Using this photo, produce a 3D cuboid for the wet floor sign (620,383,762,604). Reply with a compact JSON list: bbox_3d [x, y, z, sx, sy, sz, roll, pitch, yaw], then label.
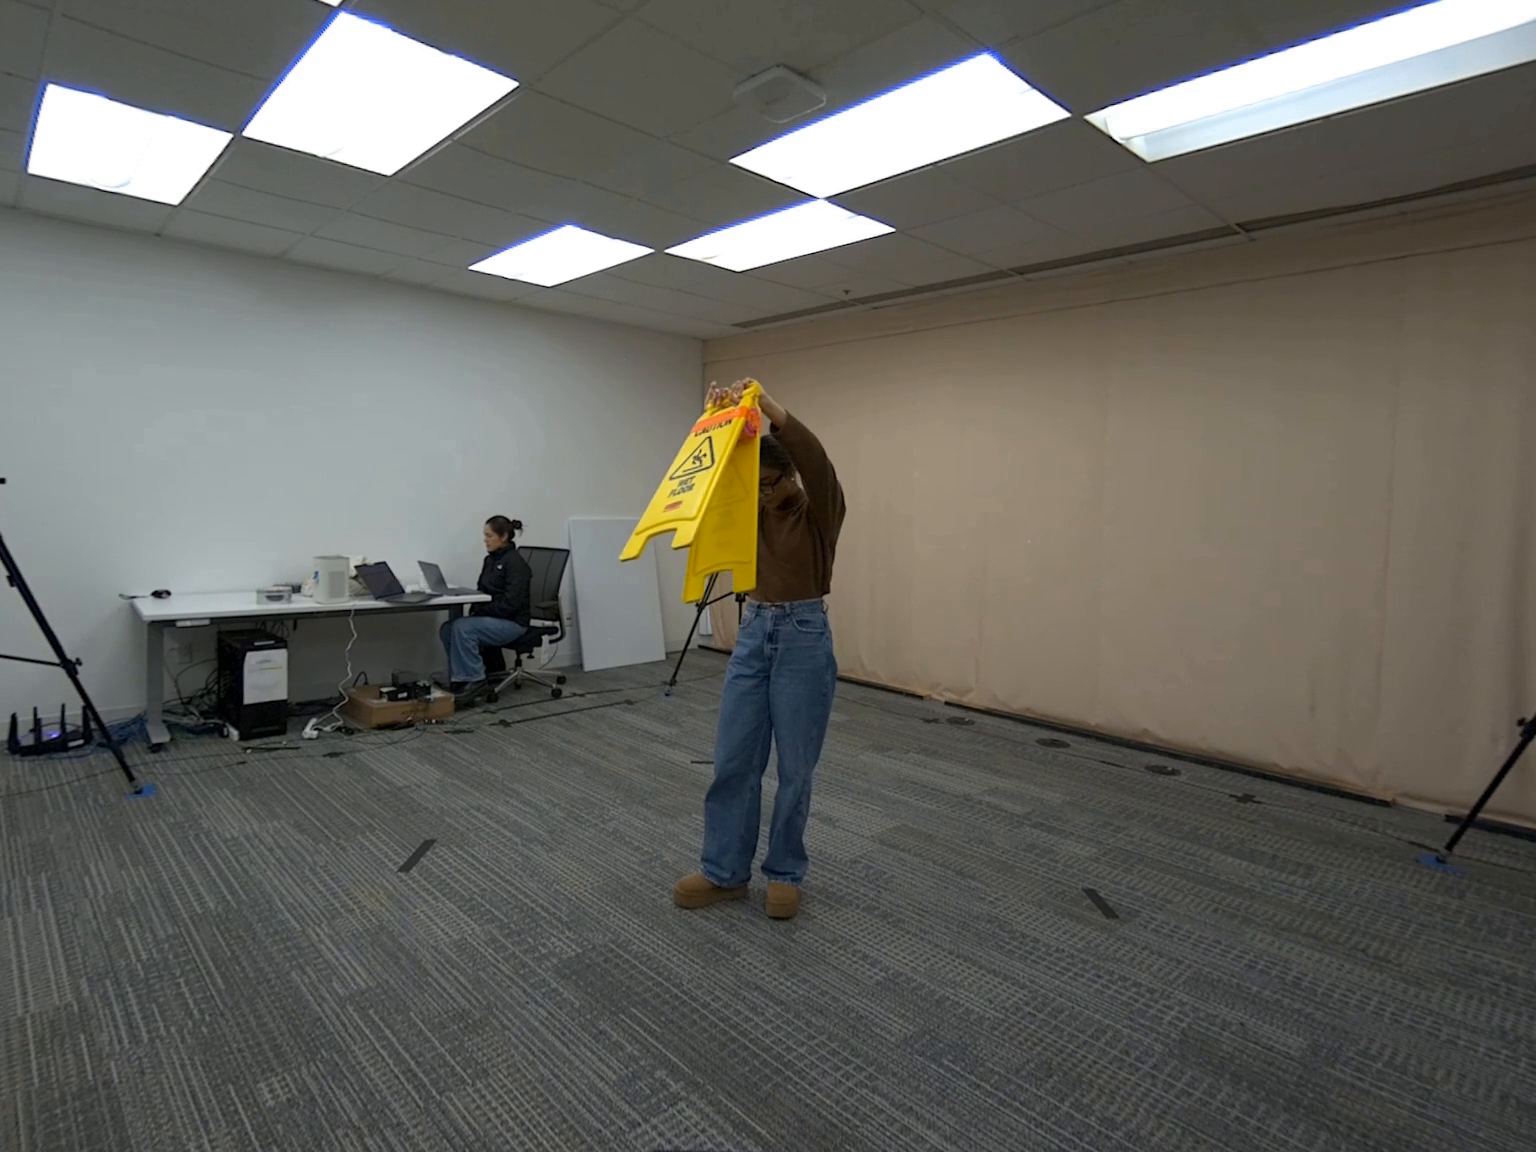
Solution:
[{"bbox_3d":[-0.167,-0.285,2.432,0.287,0.655,0.281,-13,-35,39],"label":"wet floor sign"}]
